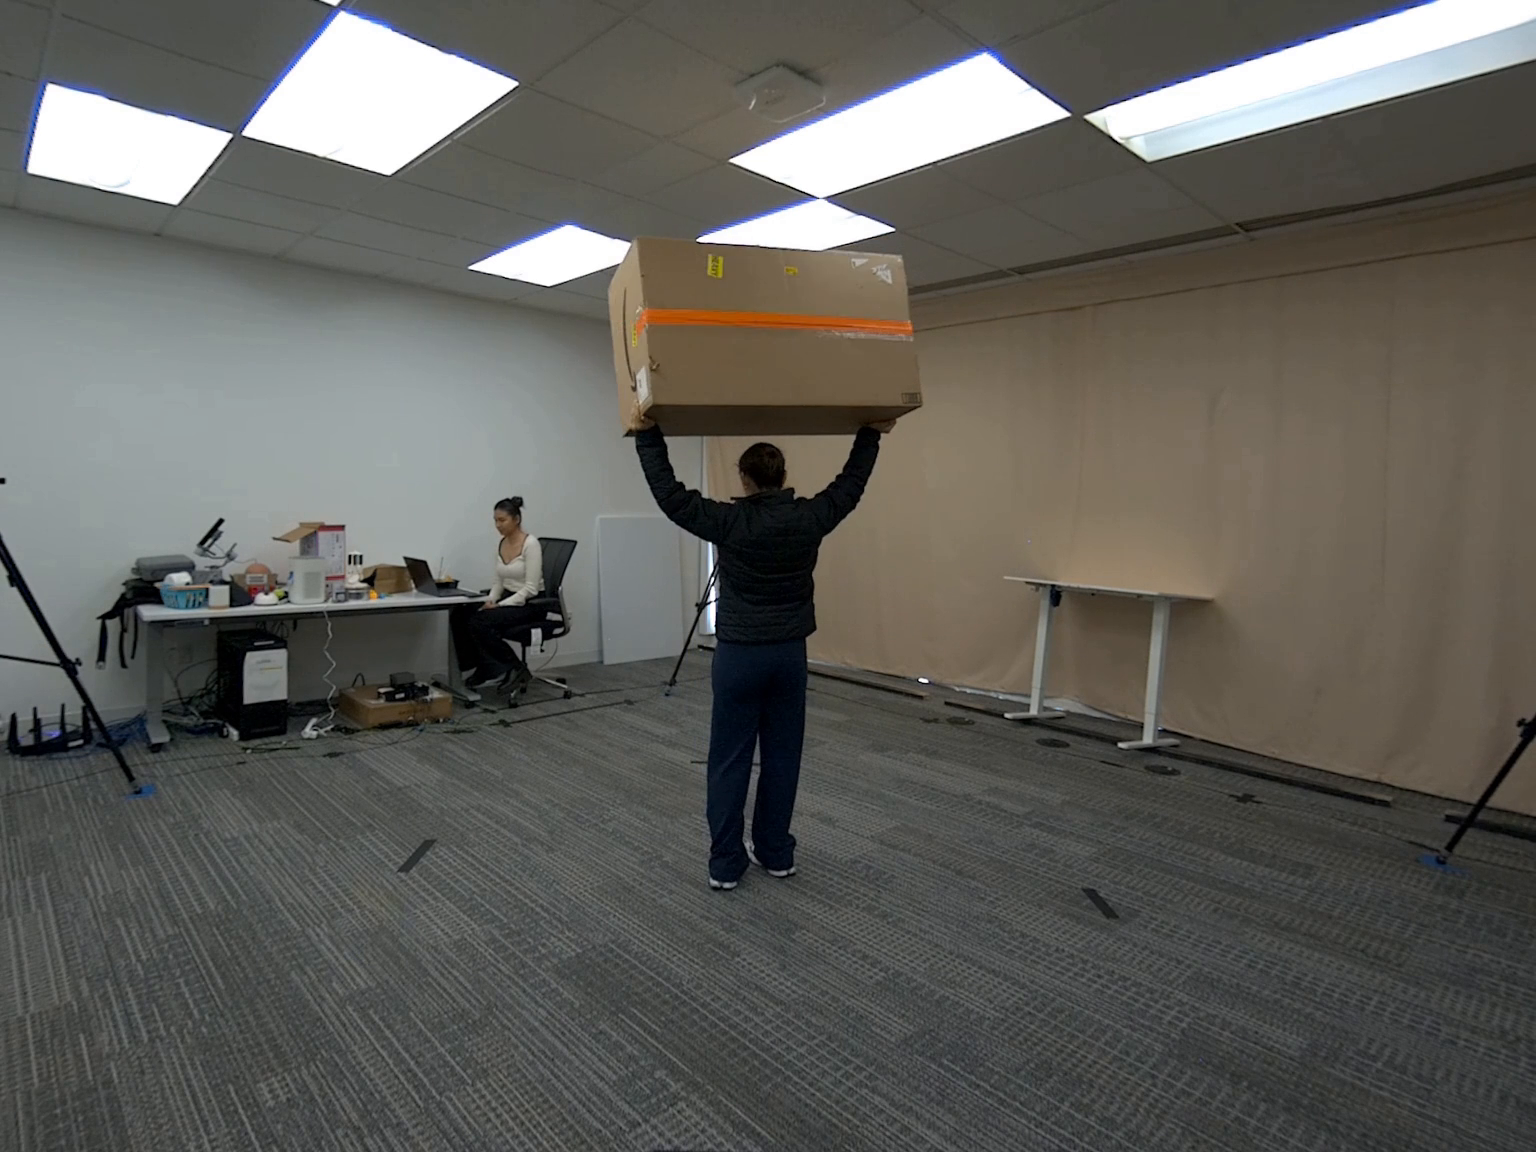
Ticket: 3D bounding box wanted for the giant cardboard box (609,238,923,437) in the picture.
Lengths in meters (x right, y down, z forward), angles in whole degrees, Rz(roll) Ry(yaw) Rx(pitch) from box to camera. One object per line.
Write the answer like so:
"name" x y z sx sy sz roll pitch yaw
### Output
"giant cardboard box" -0.022 -0.838 3.077 1.011 0.587 0.452 -5 -5 -23
